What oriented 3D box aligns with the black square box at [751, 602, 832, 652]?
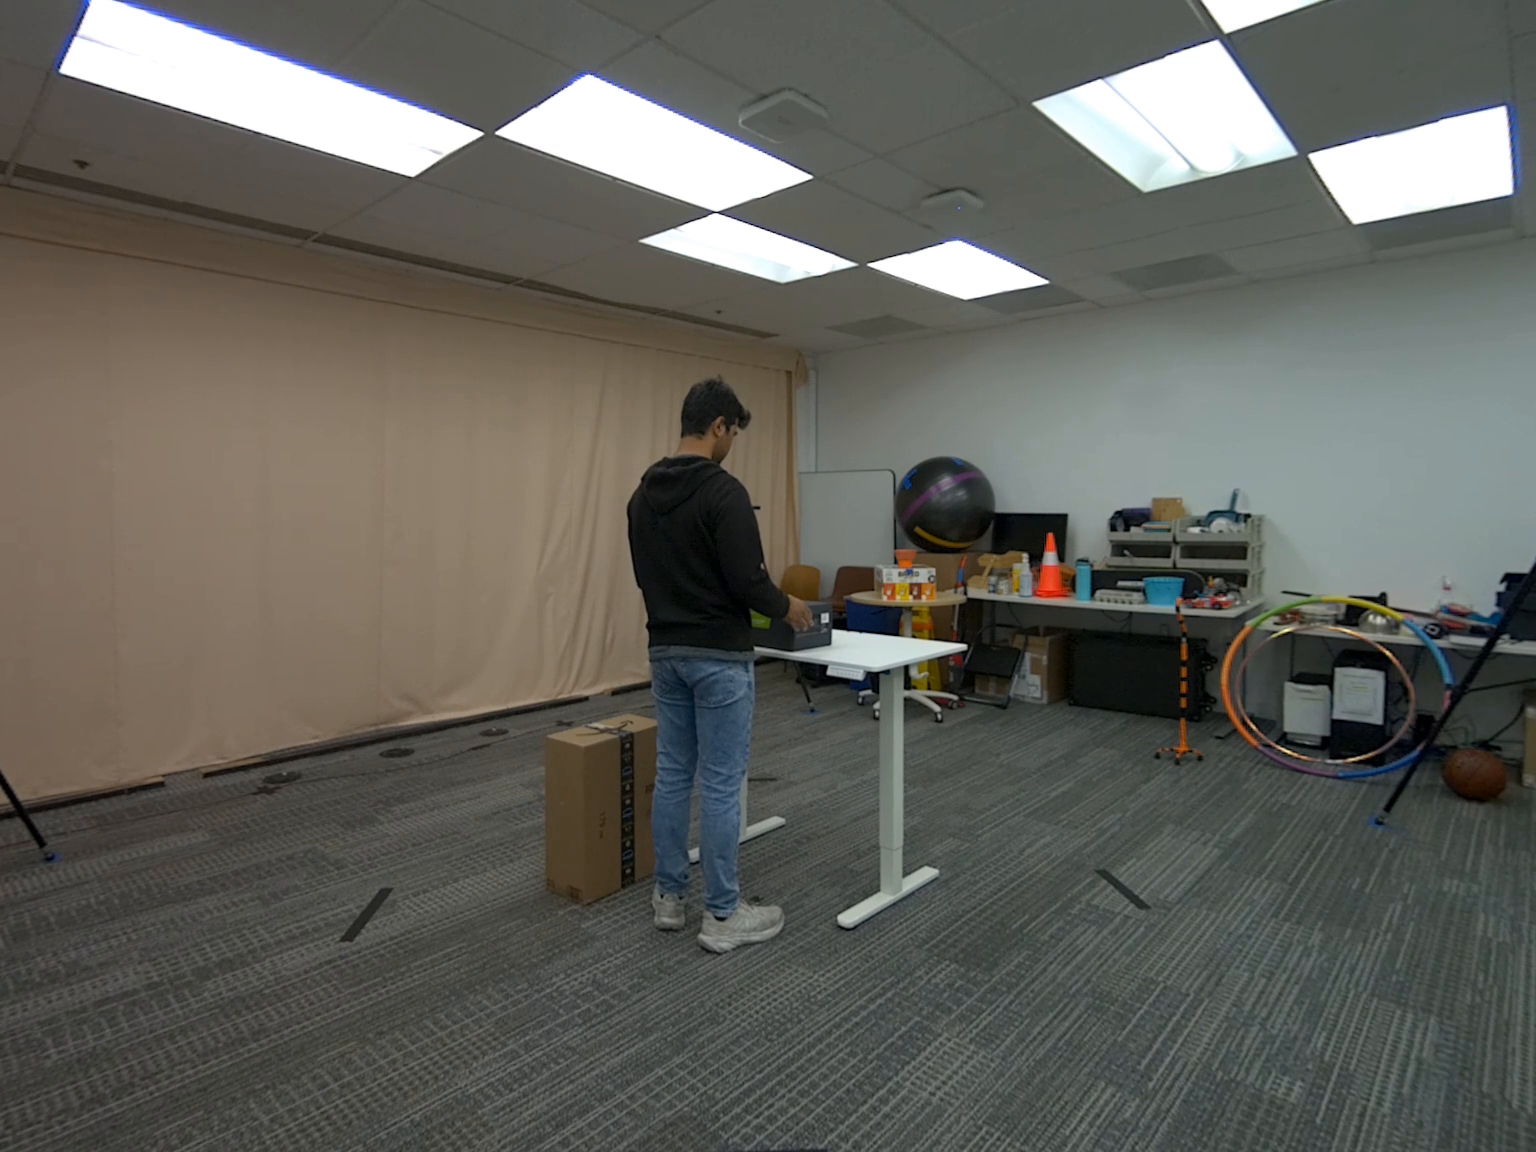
[{"bbox_3d":[0.083,0.173,3.075,0.210,0.155,0.235,-4,5,-44],"label":"black square box"}]
